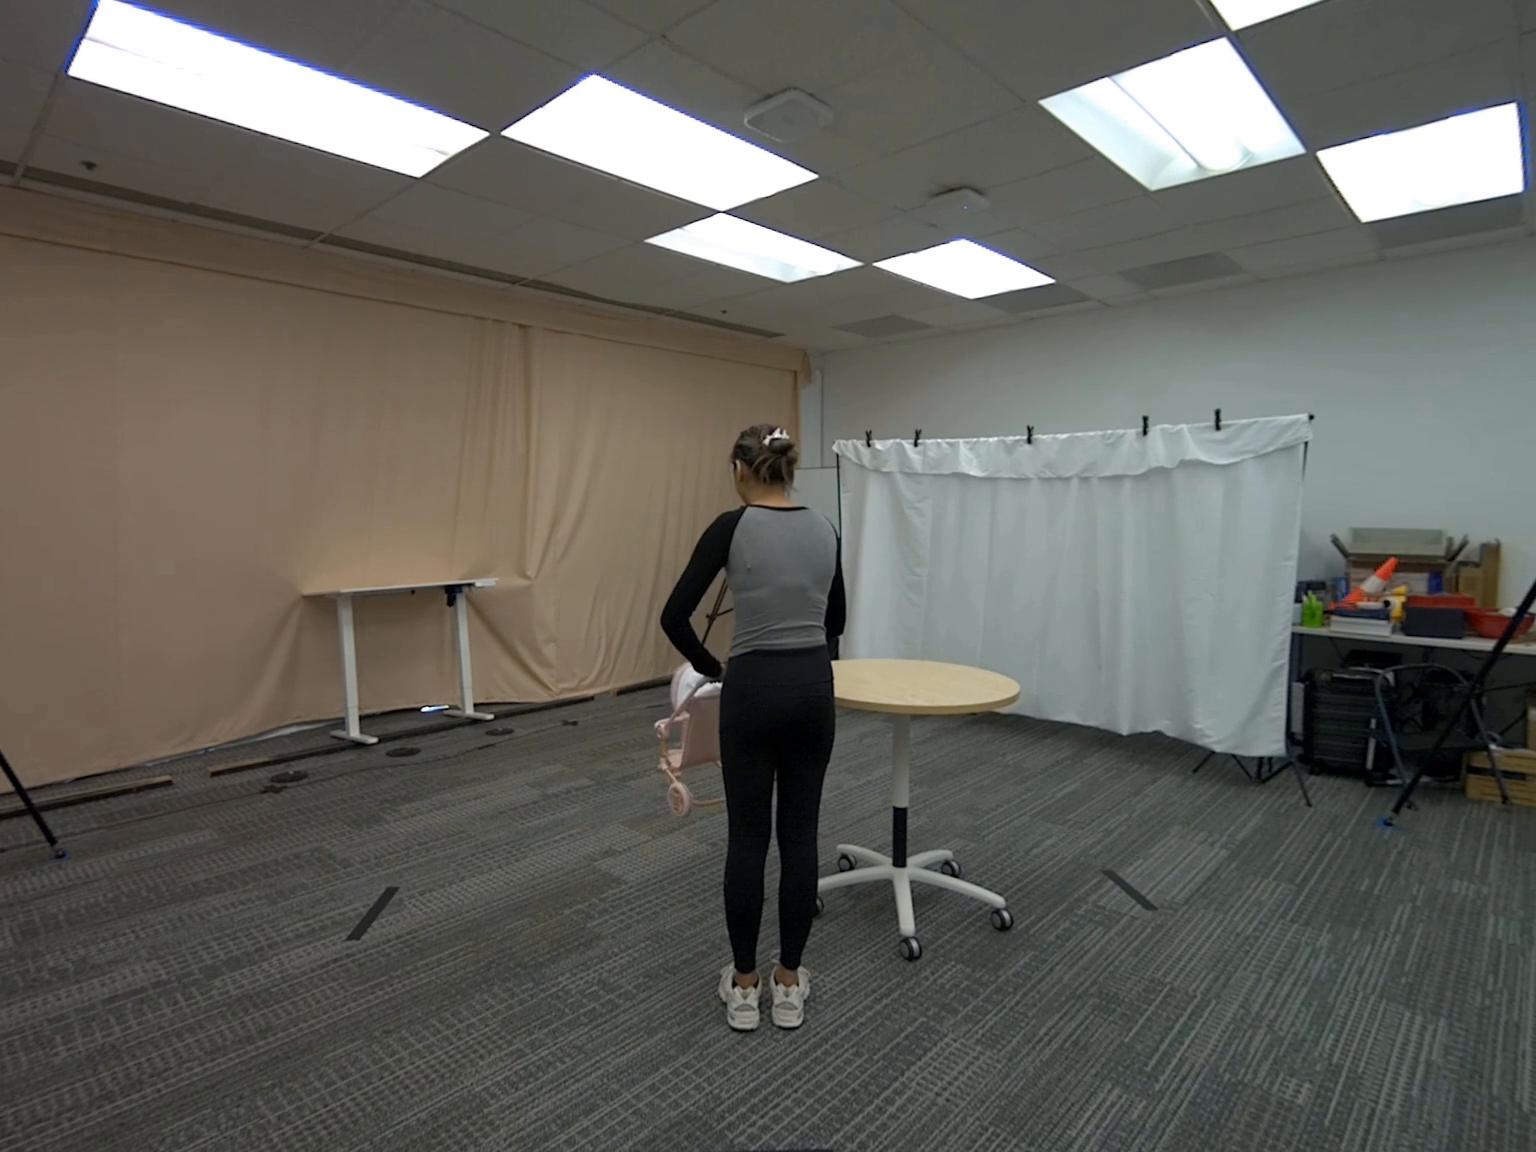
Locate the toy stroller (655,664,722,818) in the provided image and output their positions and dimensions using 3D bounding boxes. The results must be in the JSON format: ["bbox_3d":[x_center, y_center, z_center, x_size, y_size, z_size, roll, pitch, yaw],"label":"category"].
[{"bbox_3d":[-0.219,0.524,2.735,0.273,0.532,0.353,-1,12,-33],"label":"toy stroller"}]
